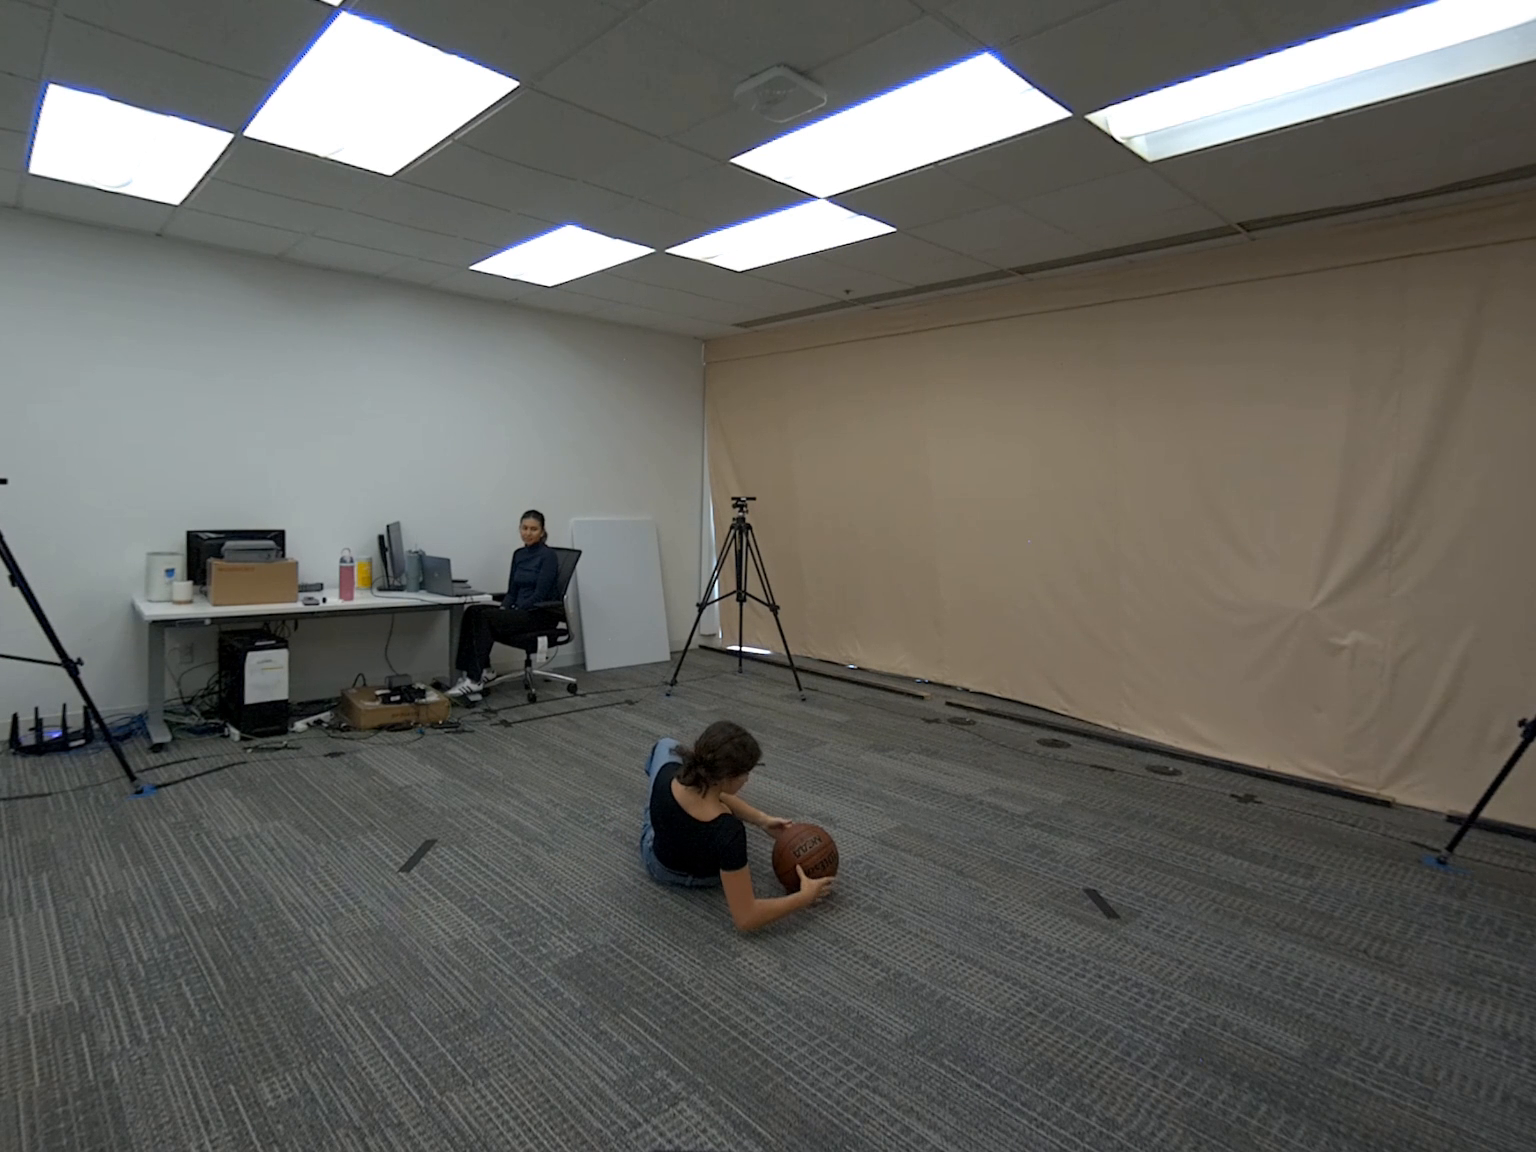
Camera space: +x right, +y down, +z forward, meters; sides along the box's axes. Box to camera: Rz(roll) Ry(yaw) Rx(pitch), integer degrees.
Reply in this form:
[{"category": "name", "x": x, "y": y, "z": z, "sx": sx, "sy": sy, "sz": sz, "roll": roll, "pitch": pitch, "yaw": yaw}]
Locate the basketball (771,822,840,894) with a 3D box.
[{"category": "basketball", "x": 0.126, "y": 1.000, "z": 2.988, "sx": 0.236, "sy": 0.235, "sz": 0.237, "roll": 1, "pitch": 4, "yaw": -1}]
